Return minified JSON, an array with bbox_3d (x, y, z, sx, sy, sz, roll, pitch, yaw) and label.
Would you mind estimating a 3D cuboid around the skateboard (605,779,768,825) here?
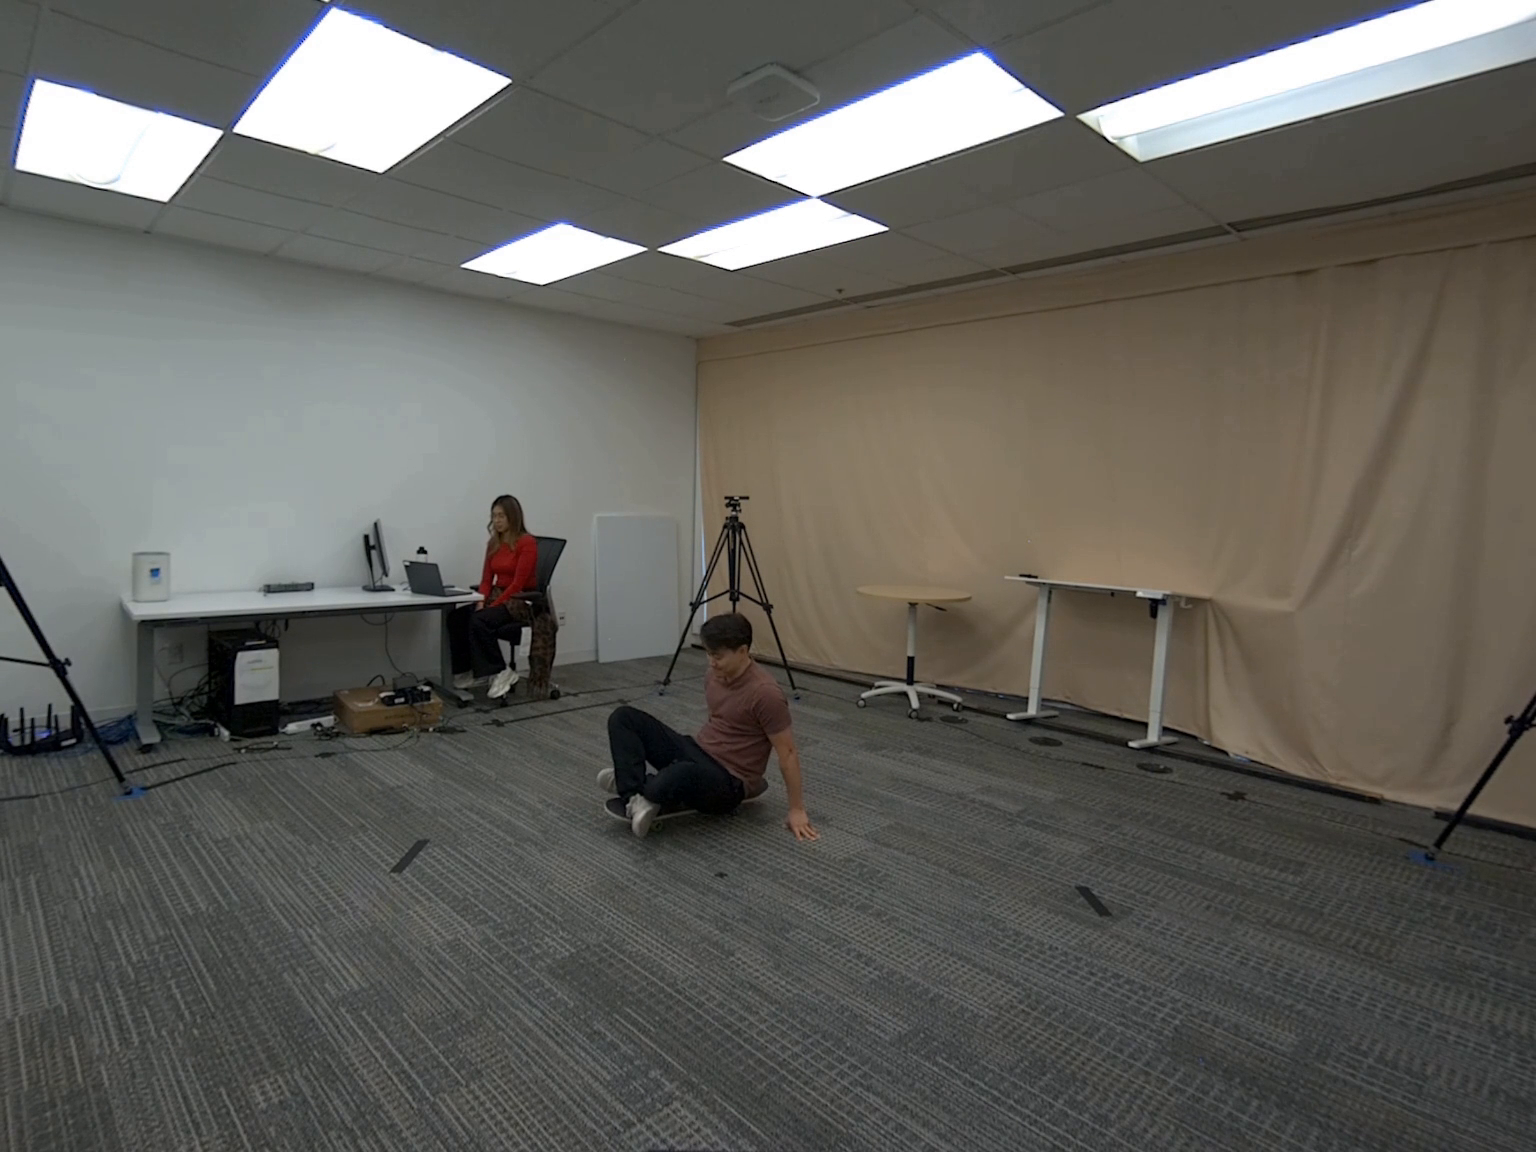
[{"bbox_3d":[-0.351,1.006,3.661,0.769,0.109,0.199,-1,15,-32],"label":"skateboard"}]
